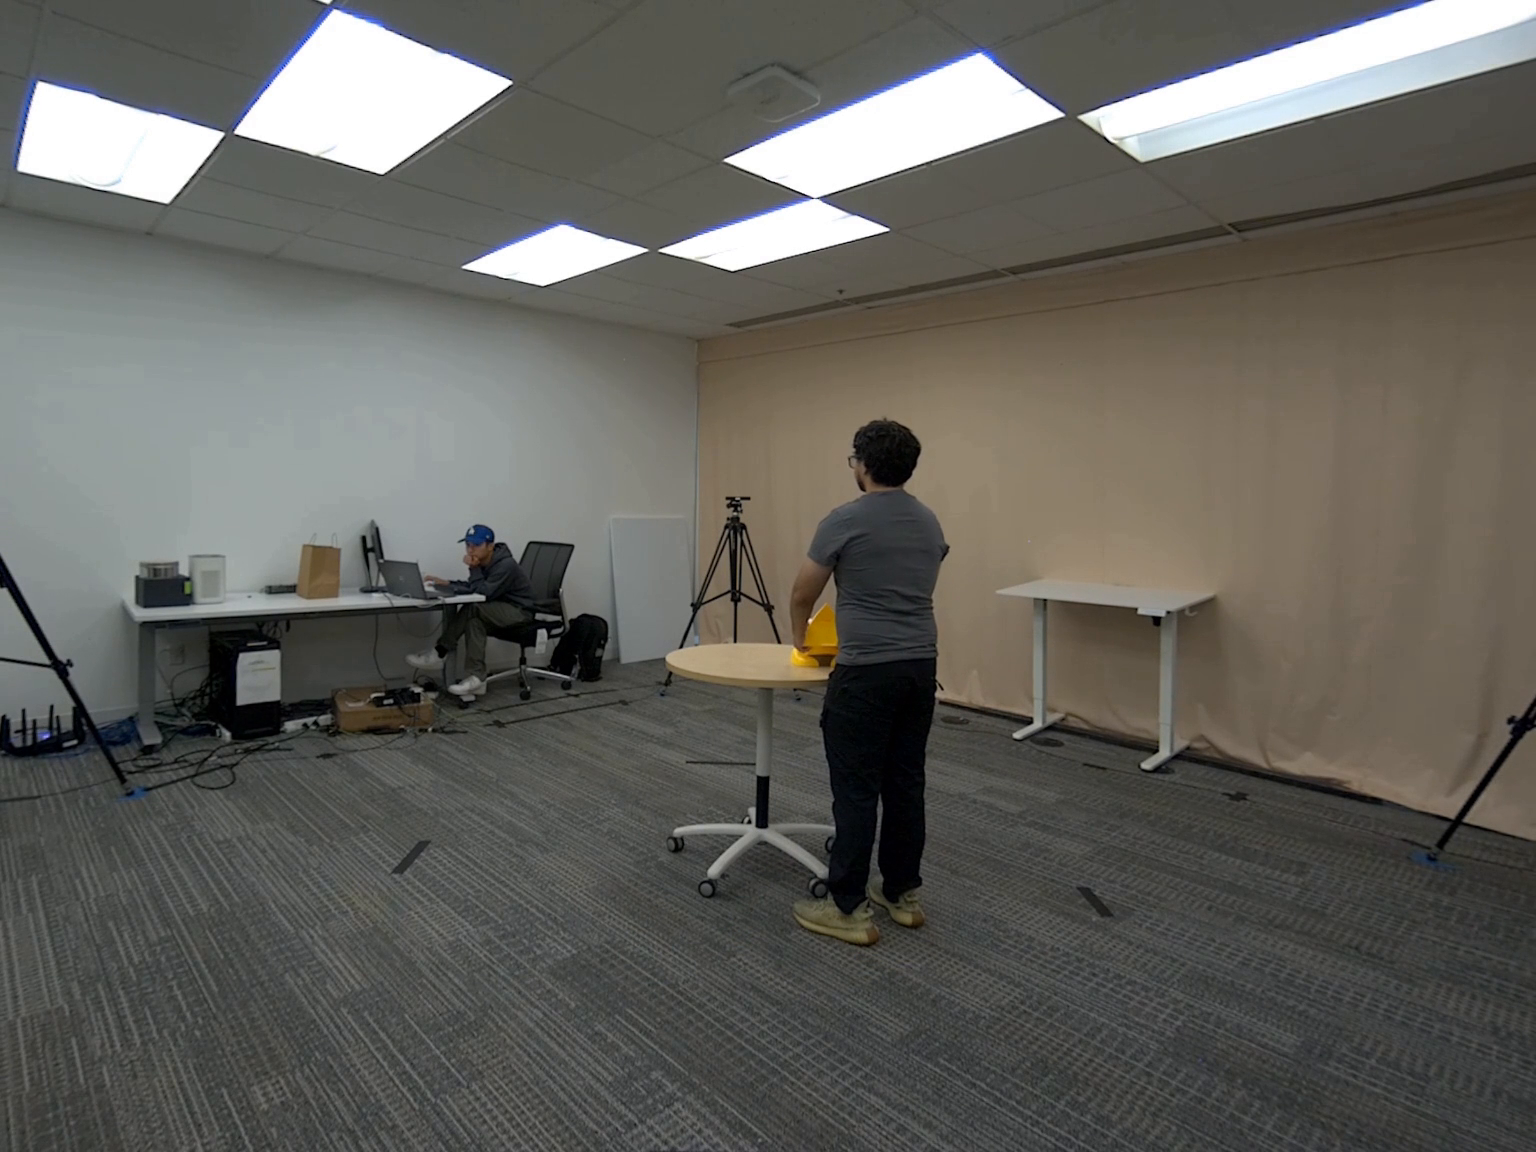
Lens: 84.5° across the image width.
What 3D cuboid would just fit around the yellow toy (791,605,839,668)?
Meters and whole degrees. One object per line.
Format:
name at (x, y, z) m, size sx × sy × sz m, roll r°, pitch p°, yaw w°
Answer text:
yellow toy at (0.183, 0.210, 3.146) m, size 0.202 × 0.230 × 0.196 m, roll 1°, pitch 6°, yaw -15°
